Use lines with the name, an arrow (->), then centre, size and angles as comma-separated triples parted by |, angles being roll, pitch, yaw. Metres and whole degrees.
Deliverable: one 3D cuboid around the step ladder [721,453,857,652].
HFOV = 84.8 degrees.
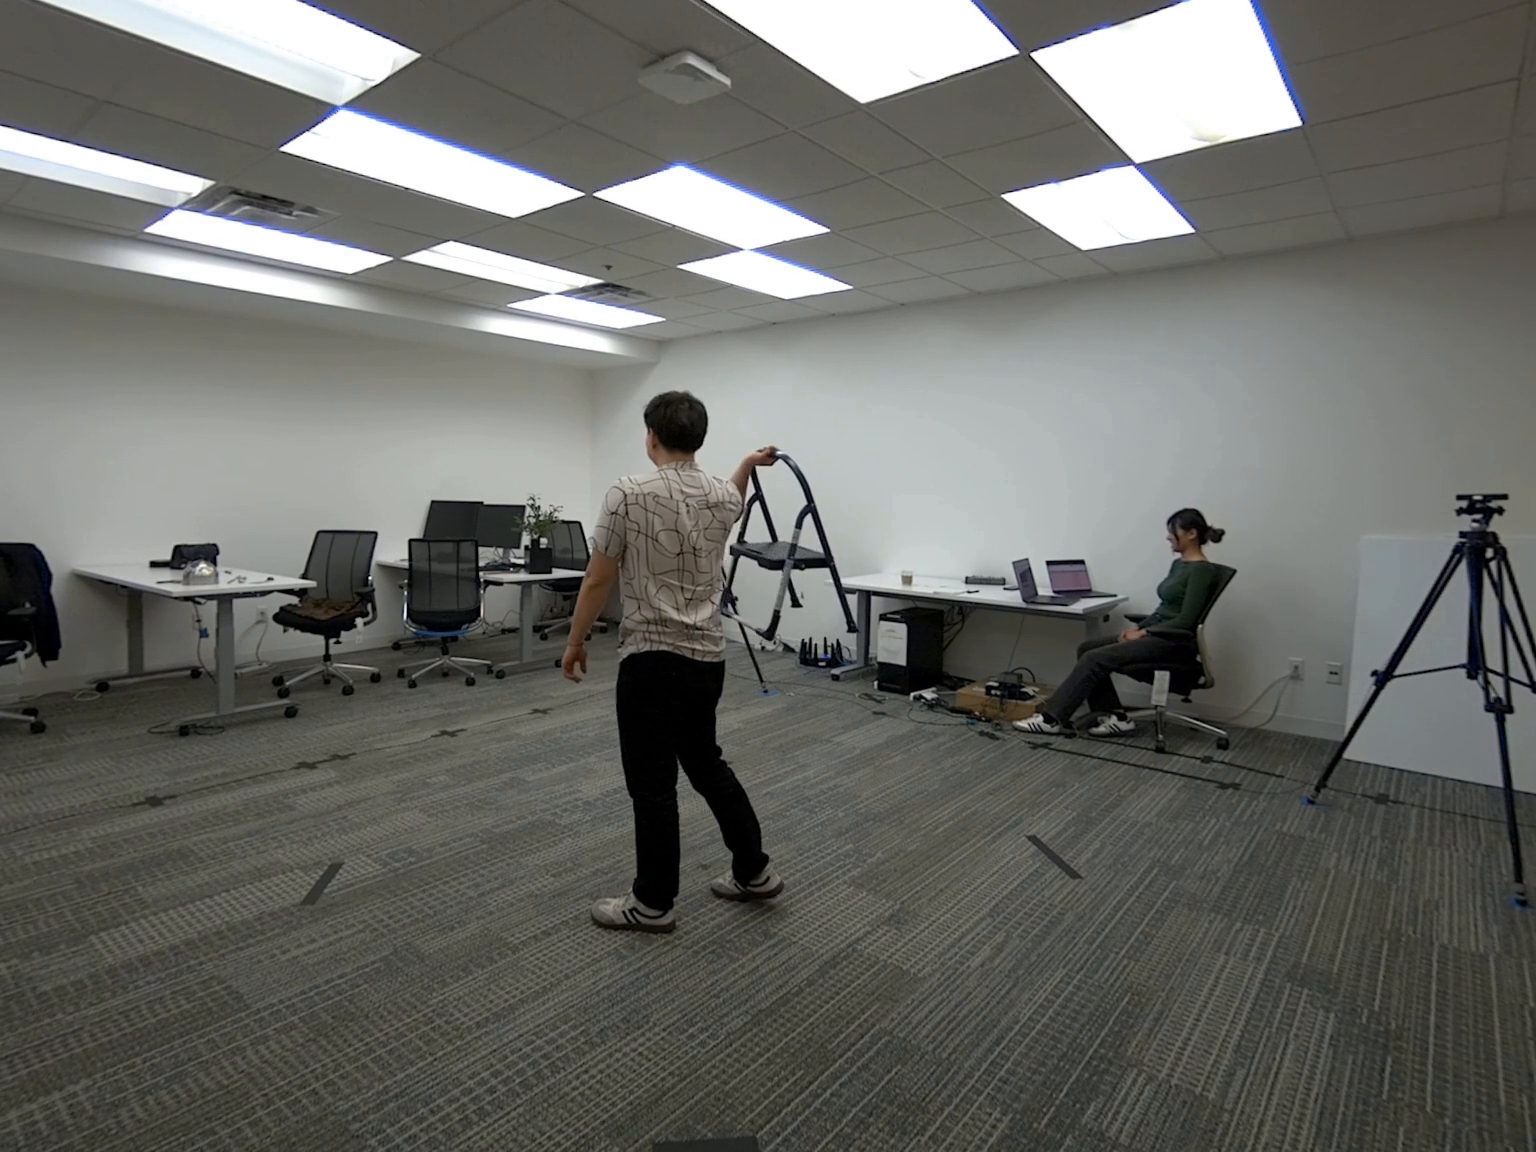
step ladder -> 0.045, -0.130, 2.952 | 0.341, 0.601, 0.444 | -4, 10, -25
